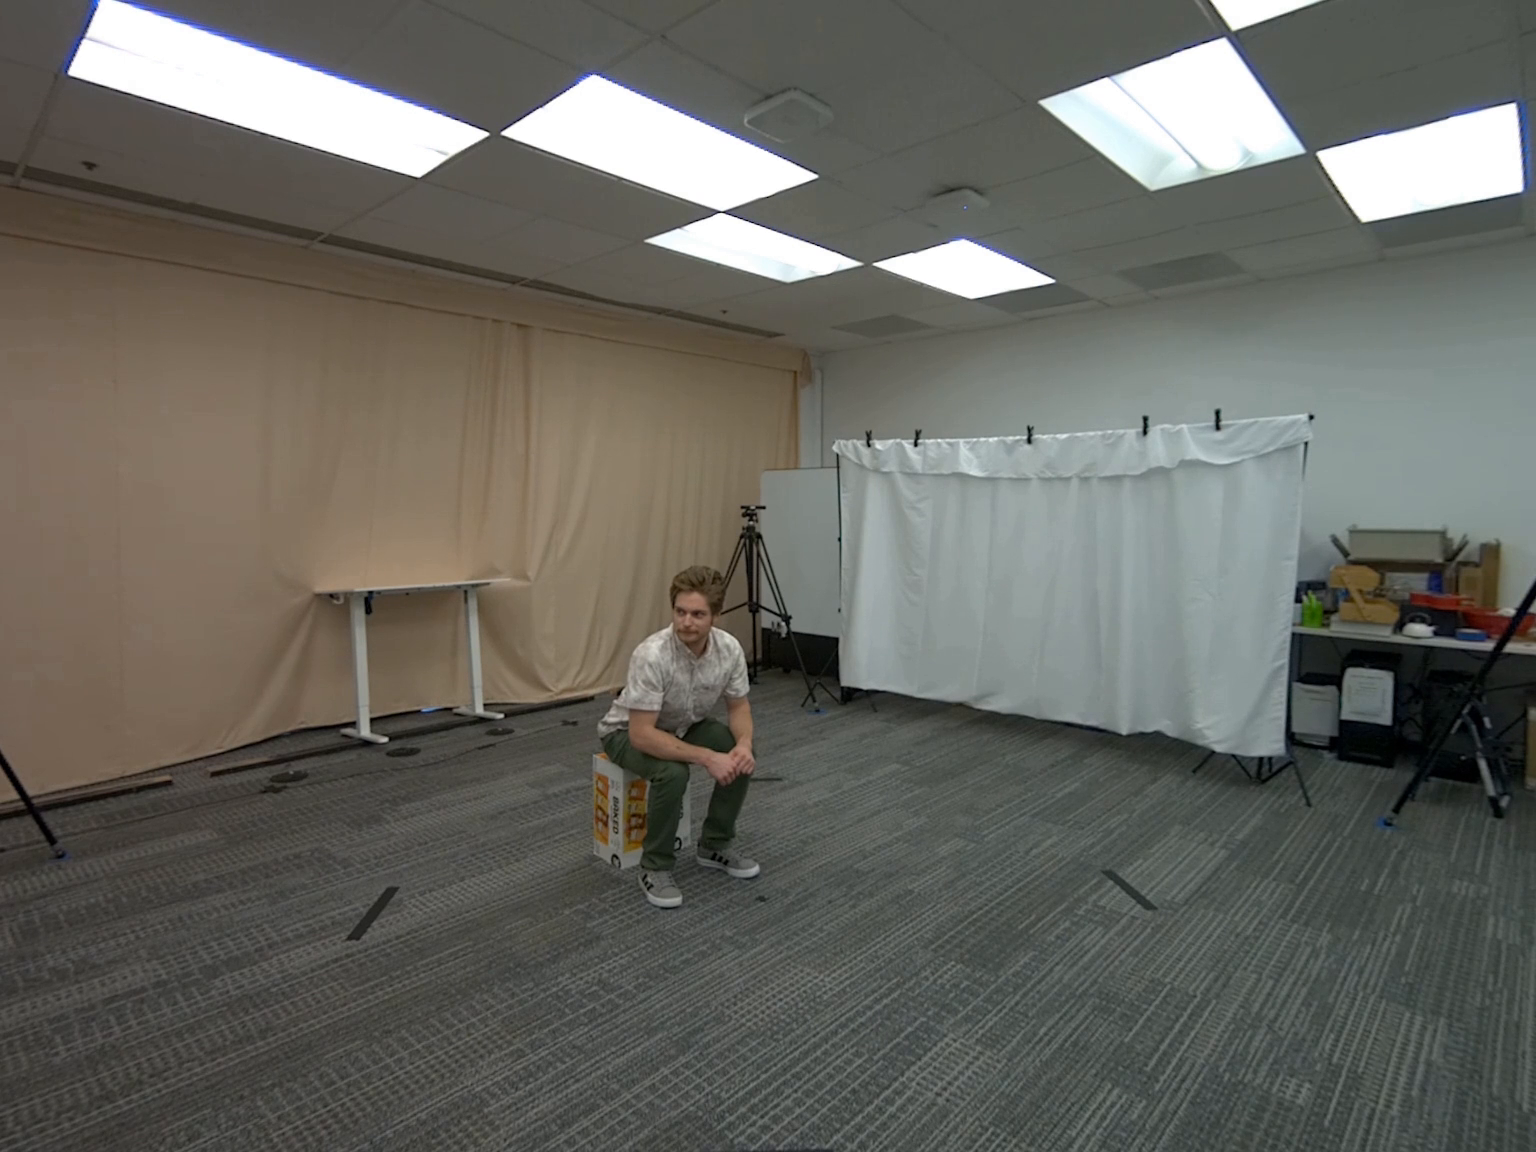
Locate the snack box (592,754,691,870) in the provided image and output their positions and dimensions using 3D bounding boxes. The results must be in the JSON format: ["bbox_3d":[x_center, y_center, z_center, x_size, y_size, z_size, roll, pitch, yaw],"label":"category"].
[{"bbox_3d":[-0.511,0.913,3.407,0.330,0.404,0.213,-4,7,-44],"label":"snack box"}]
